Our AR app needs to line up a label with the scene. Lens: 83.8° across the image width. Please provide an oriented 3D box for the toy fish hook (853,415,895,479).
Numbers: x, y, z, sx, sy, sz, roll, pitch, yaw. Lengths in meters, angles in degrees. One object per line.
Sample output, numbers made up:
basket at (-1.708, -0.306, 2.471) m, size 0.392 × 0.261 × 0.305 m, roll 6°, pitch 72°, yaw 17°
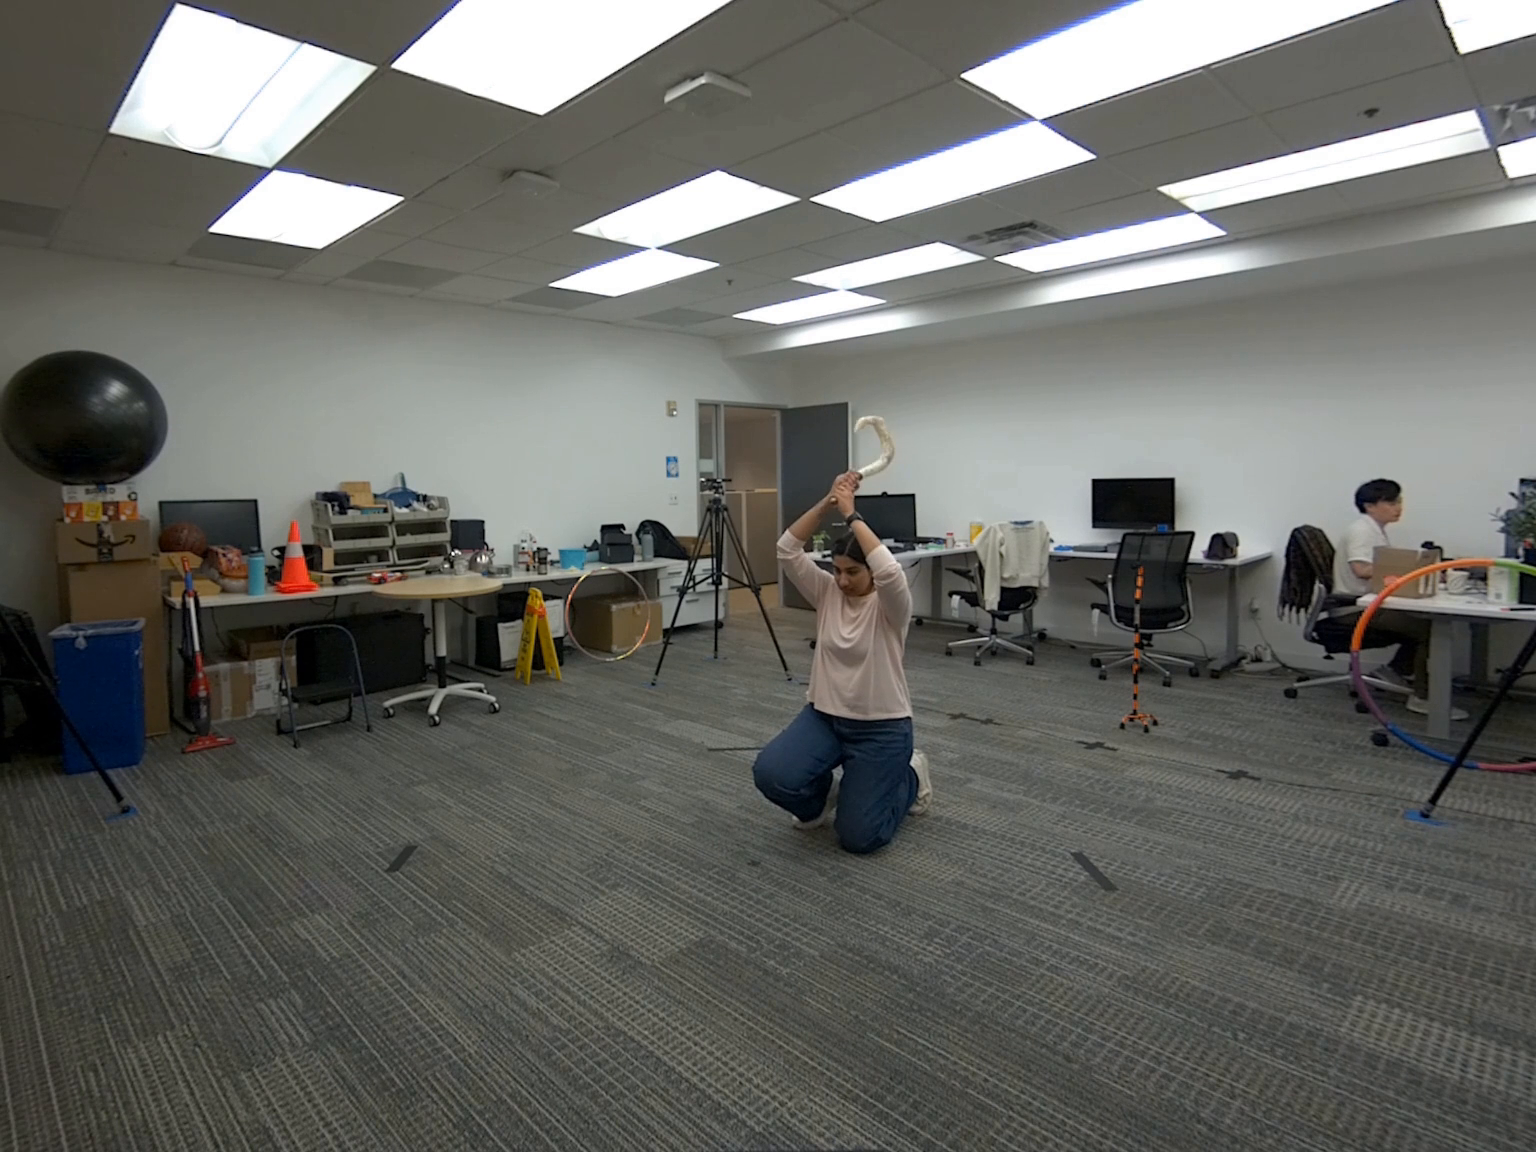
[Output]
toy fish hook at (0.337, -0.447, 3.256) m, size 0.049 × 0.221 × 0.506 m, roll -20°, pitch 21°, yaw 45°
